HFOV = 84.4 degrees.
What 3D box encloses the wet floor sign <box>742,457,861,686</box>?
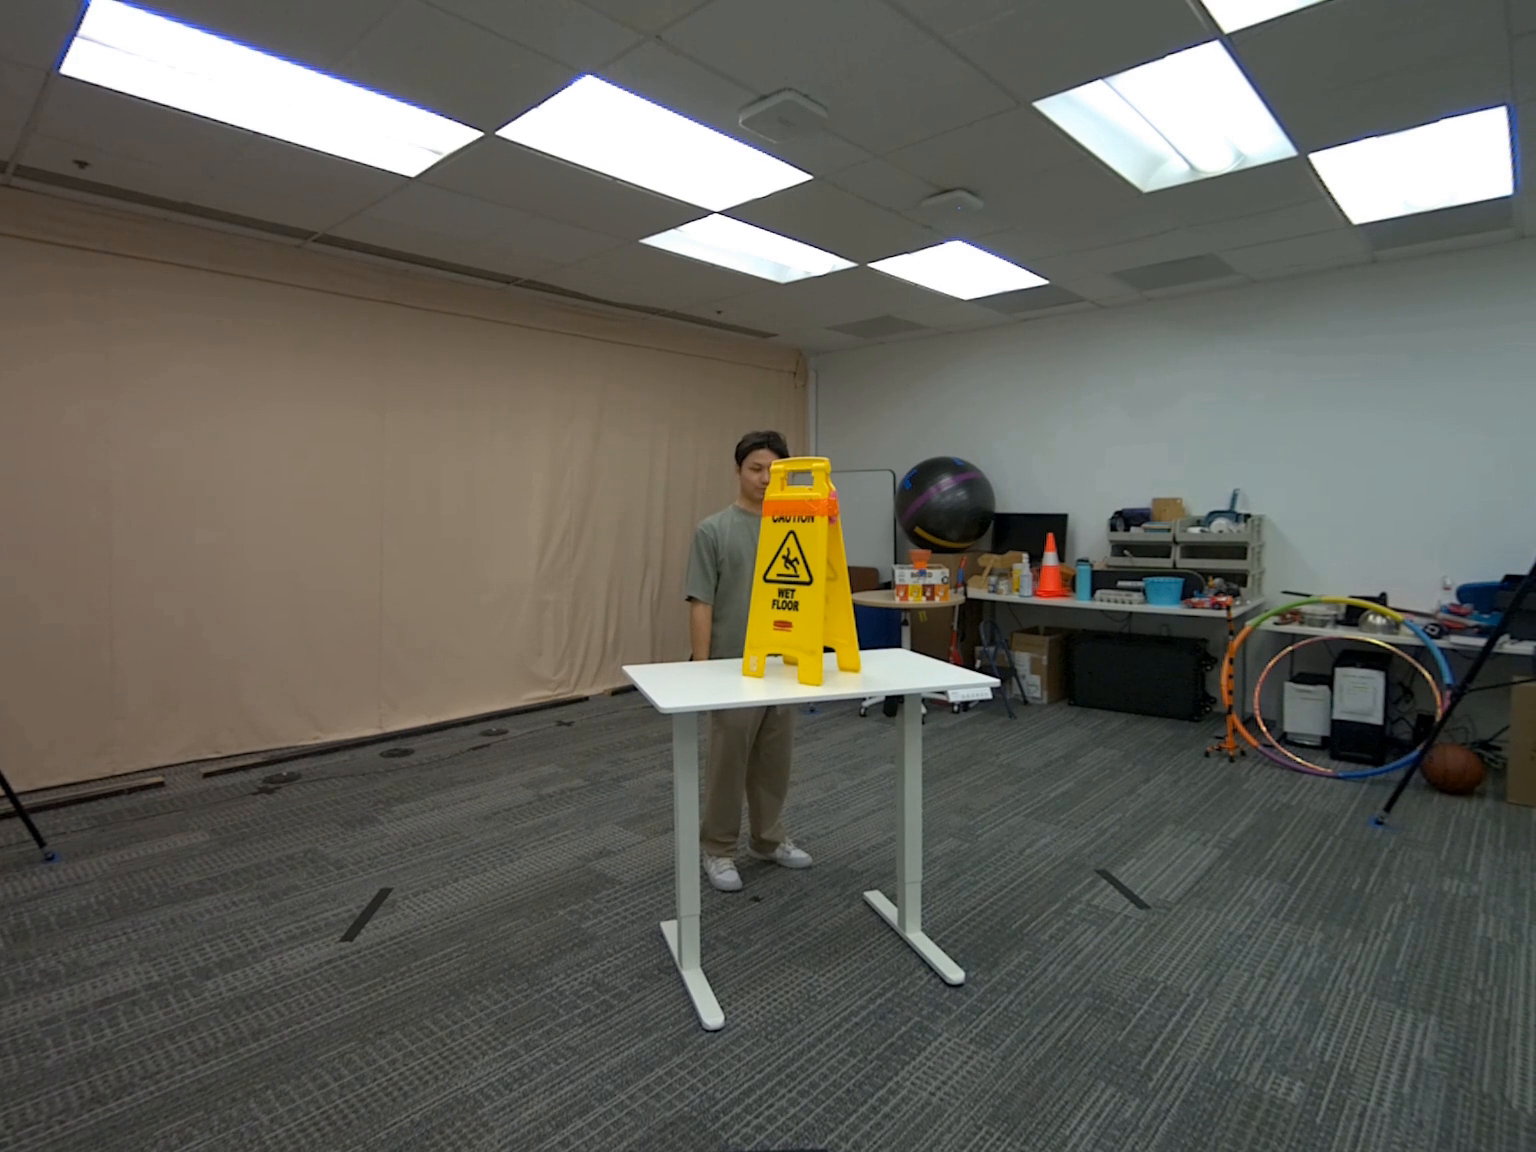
[{"bbox_3d":[0.101,-0.026,2.532,0.291,0.645,0.281,1,4,36],"label":"wet floor sign"}]
